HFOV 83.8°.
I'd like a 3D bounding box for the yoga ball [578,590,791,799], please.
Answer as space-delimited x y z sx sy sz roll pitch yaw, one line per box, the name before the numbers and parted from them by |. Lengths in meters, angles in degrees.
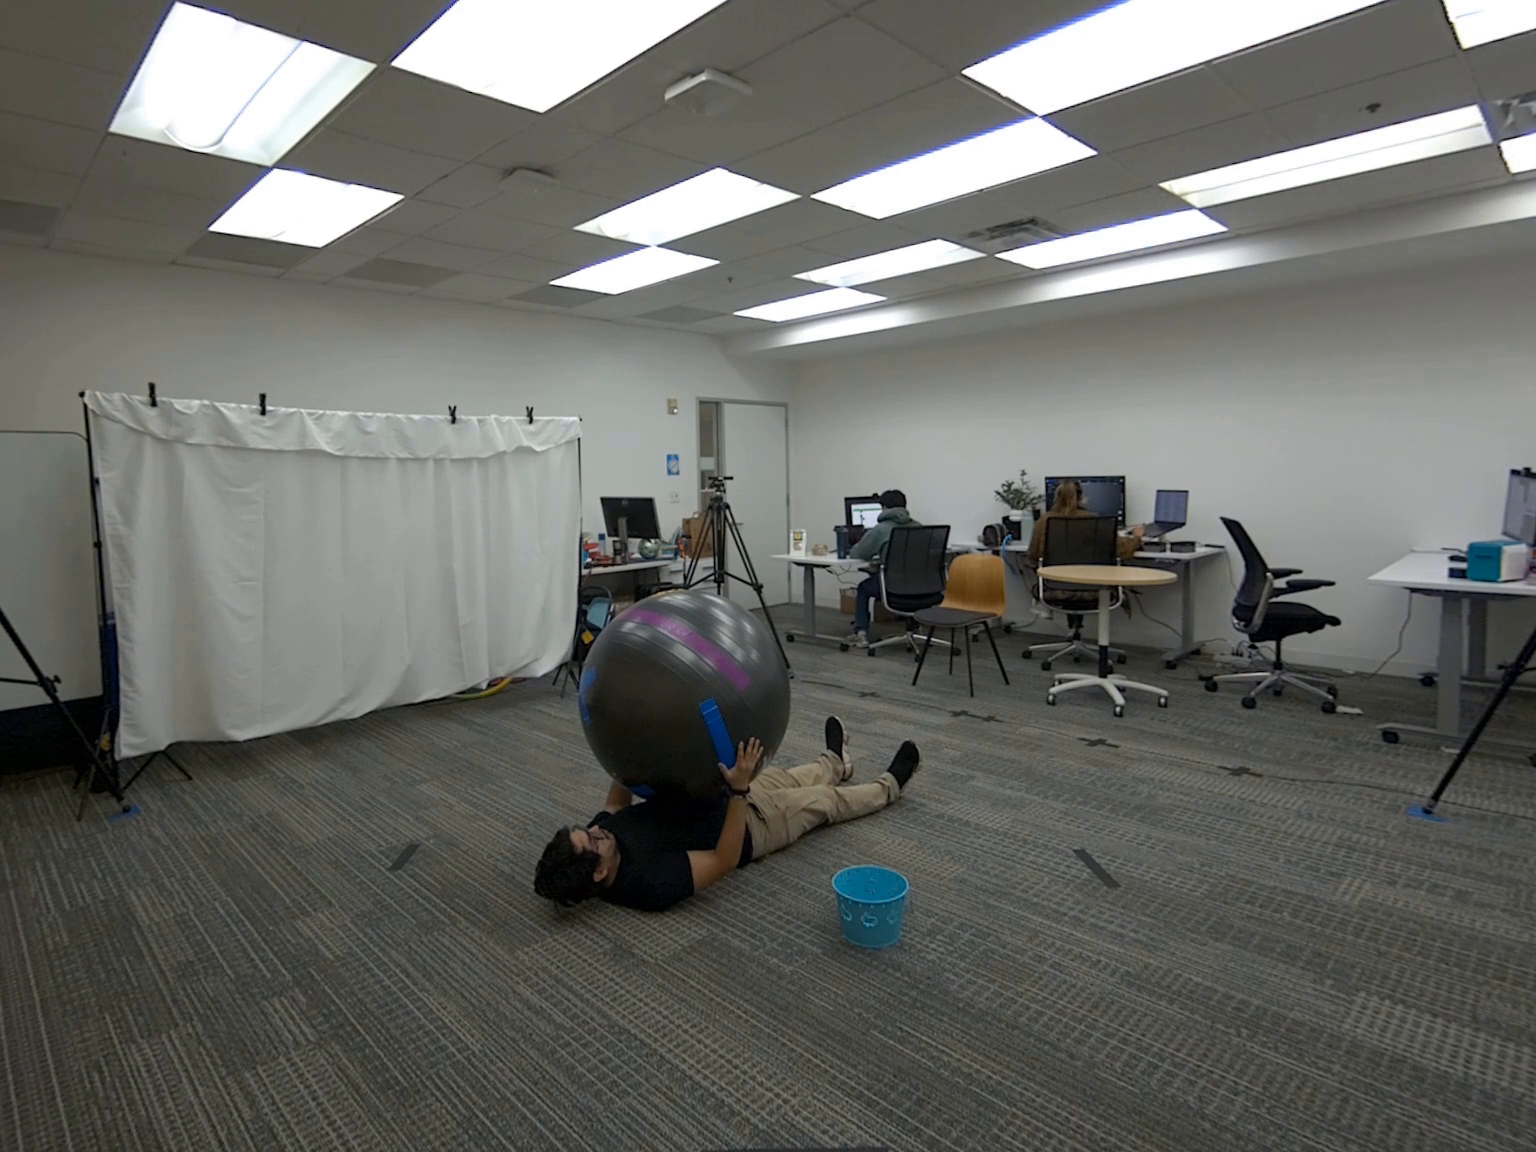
yoga ball | -0.295 0.432 3.069 0.757 0.755 0.761 -1 4 -2
